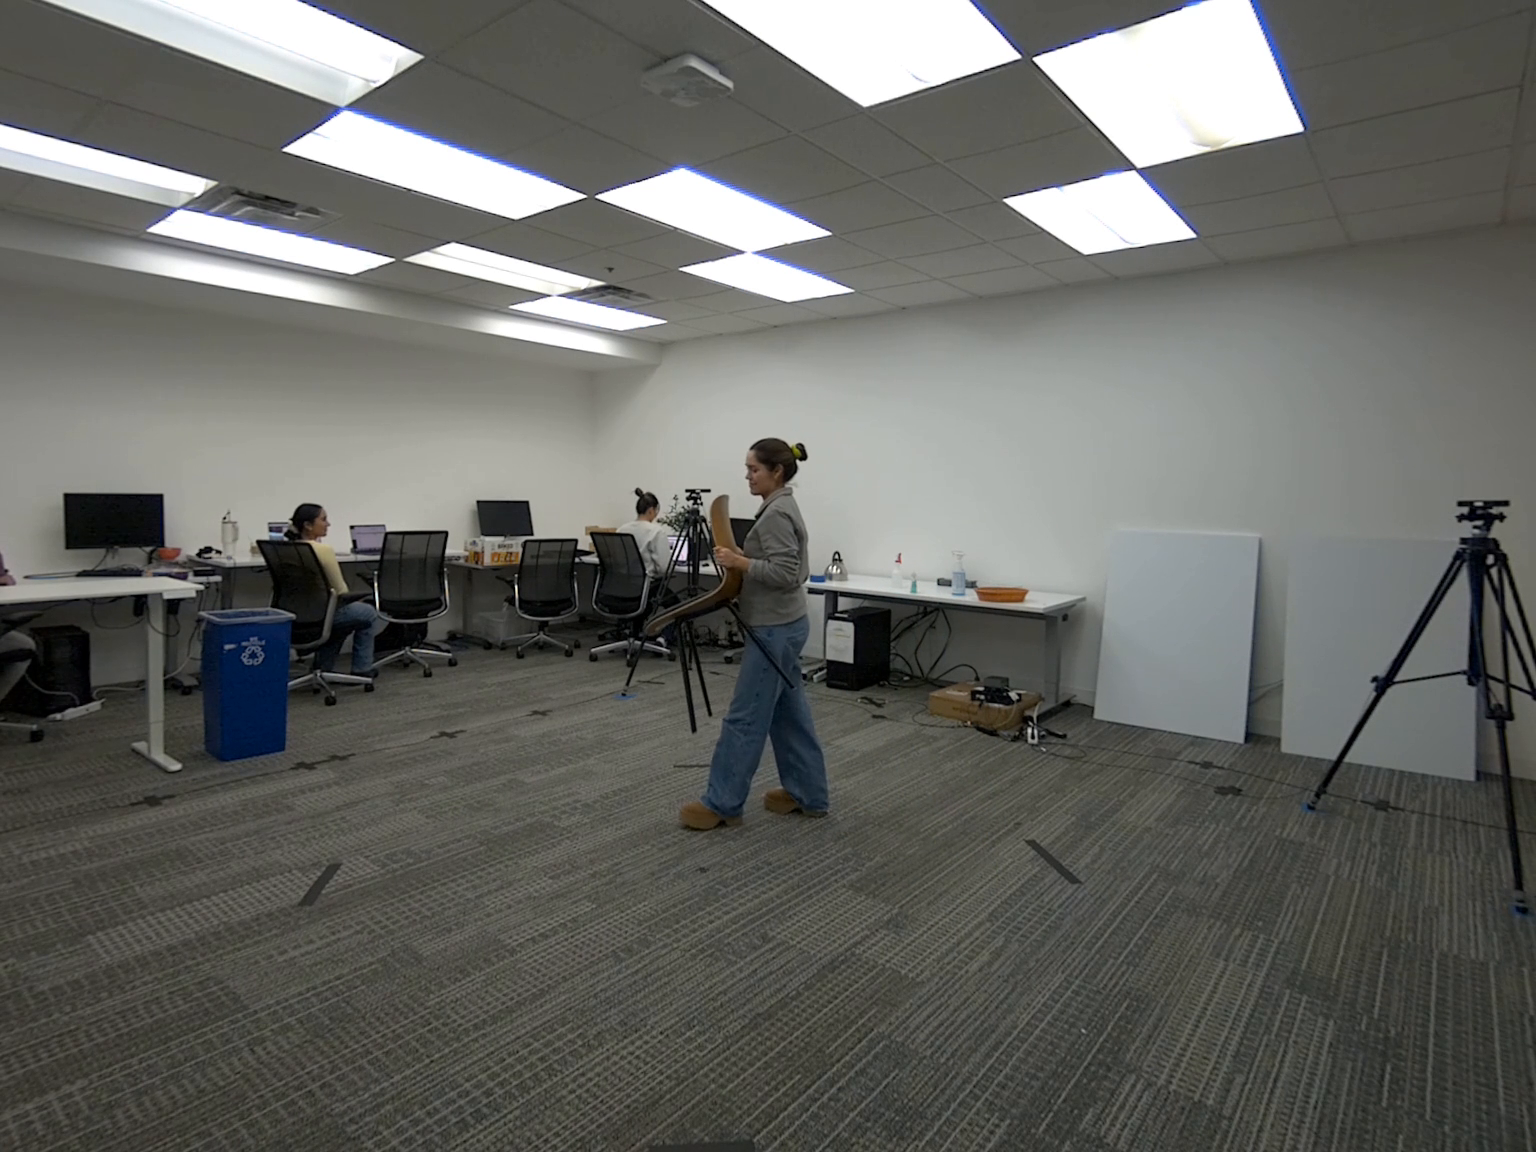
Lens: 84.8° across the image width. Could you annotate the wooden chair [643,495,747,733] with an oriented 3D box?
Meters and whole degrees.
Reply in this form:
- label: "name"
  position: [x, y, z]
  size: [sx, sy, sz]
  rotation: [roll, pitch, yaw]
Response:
- label: "wooden chair"
  position: [-0.287, 0.142, 3.648]
  size: [0.525, 0.882, 0.474]
  rotation: [-20, -3, 5]
